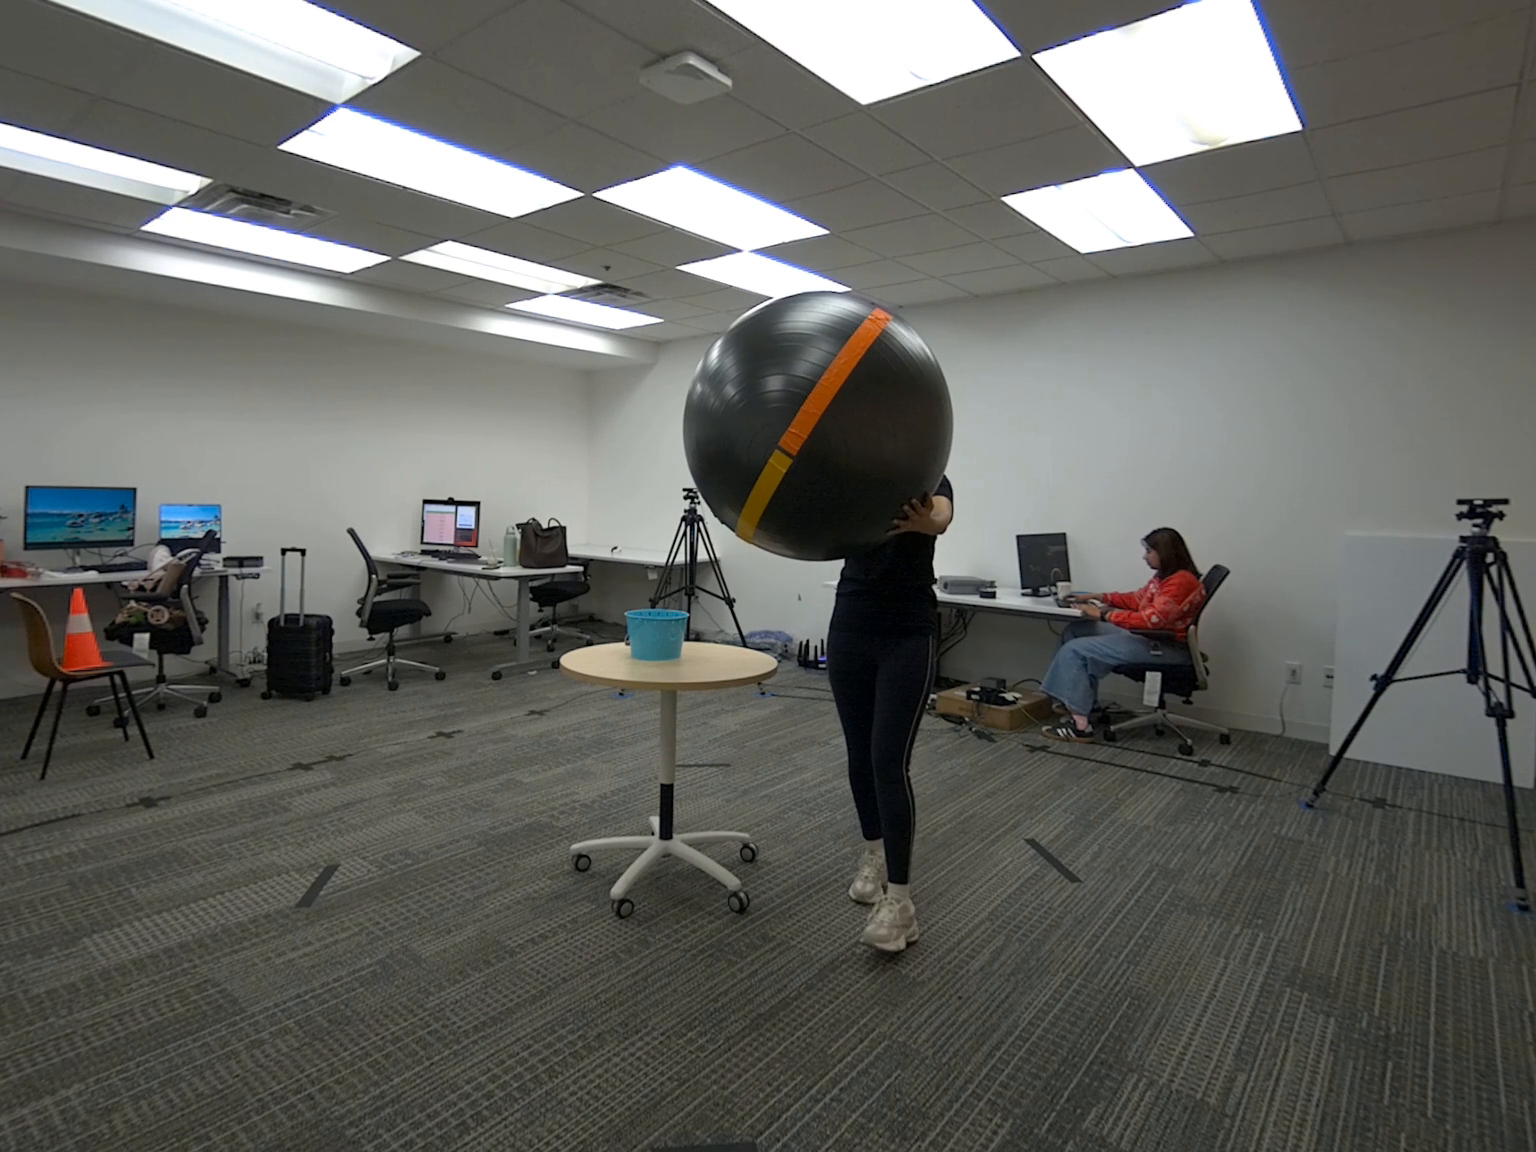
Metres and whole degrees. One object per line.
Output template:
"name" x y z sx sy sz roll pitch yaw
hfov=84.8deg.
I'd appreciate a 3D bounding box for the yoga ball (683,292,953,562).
"yoga ball" 0.128 -0.415 2.412 0.757 0.756 0.761 1 4 -2
